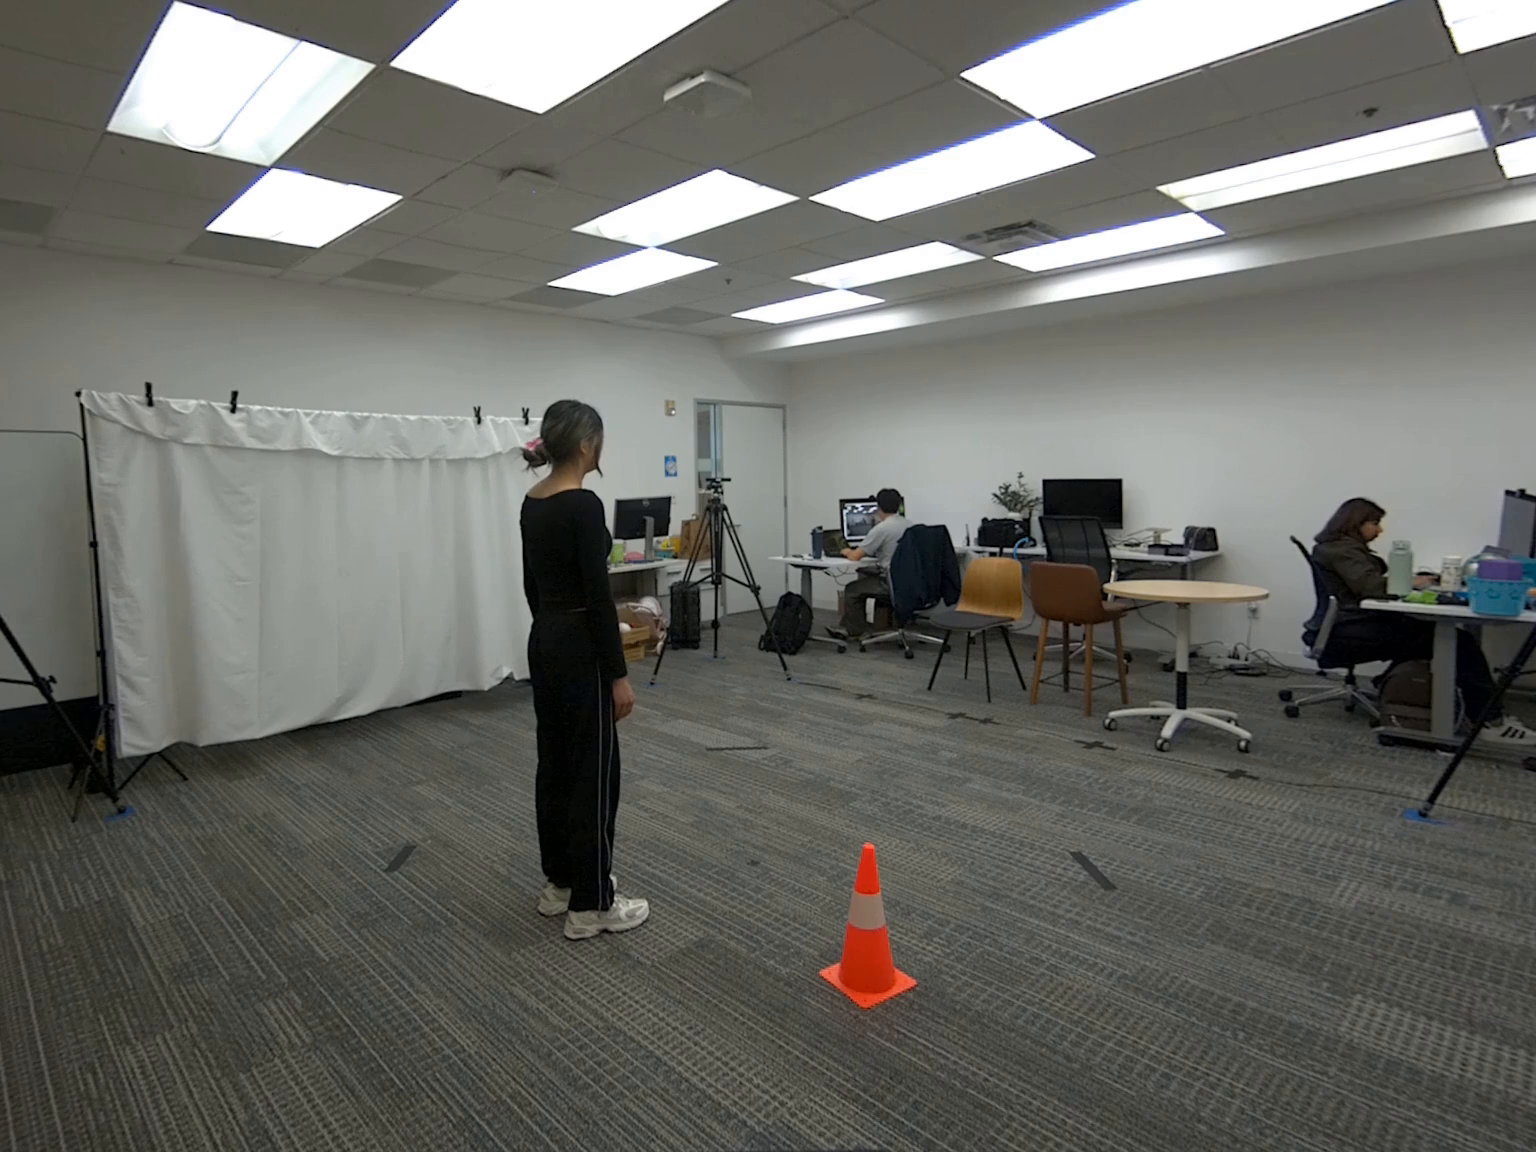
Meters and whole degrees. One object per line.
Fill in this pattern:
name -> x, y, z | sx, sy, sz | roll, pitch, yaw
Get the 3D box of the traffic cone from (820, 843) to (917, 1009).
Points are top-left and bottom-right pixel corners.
traffic cone -> 0.285, 0.941, 2.358 | 0.198, 0.382, 0.211 | -3, 6, -29
